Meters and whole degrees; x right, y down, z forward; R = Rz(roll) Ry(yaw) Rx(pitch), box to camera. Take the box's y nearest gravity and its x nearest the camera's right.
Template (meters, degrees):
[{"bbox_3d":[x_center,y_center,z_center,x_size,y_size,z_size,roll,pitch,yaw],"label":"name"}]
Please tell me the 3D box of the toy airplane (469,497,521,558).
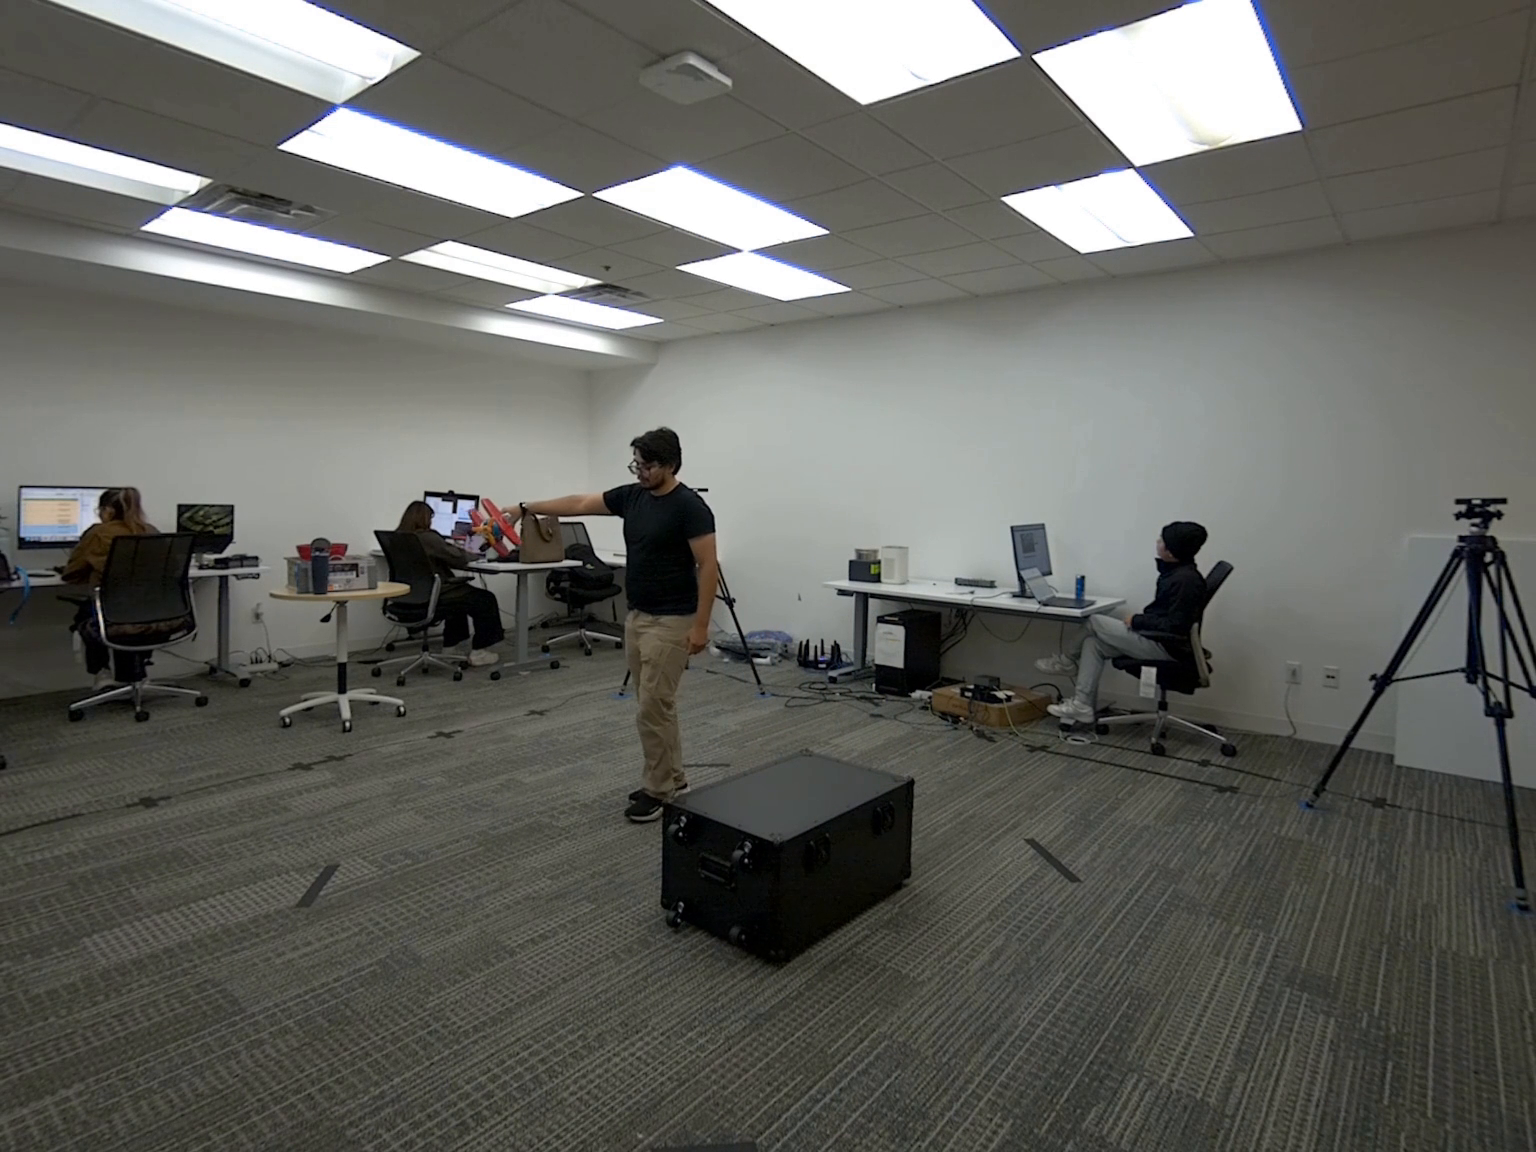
[{"bbox_3d":[-1.214,-0.229,3.725,0.157,0.266,0.243,-37,-61,25],"label":"toy airplane"}]
